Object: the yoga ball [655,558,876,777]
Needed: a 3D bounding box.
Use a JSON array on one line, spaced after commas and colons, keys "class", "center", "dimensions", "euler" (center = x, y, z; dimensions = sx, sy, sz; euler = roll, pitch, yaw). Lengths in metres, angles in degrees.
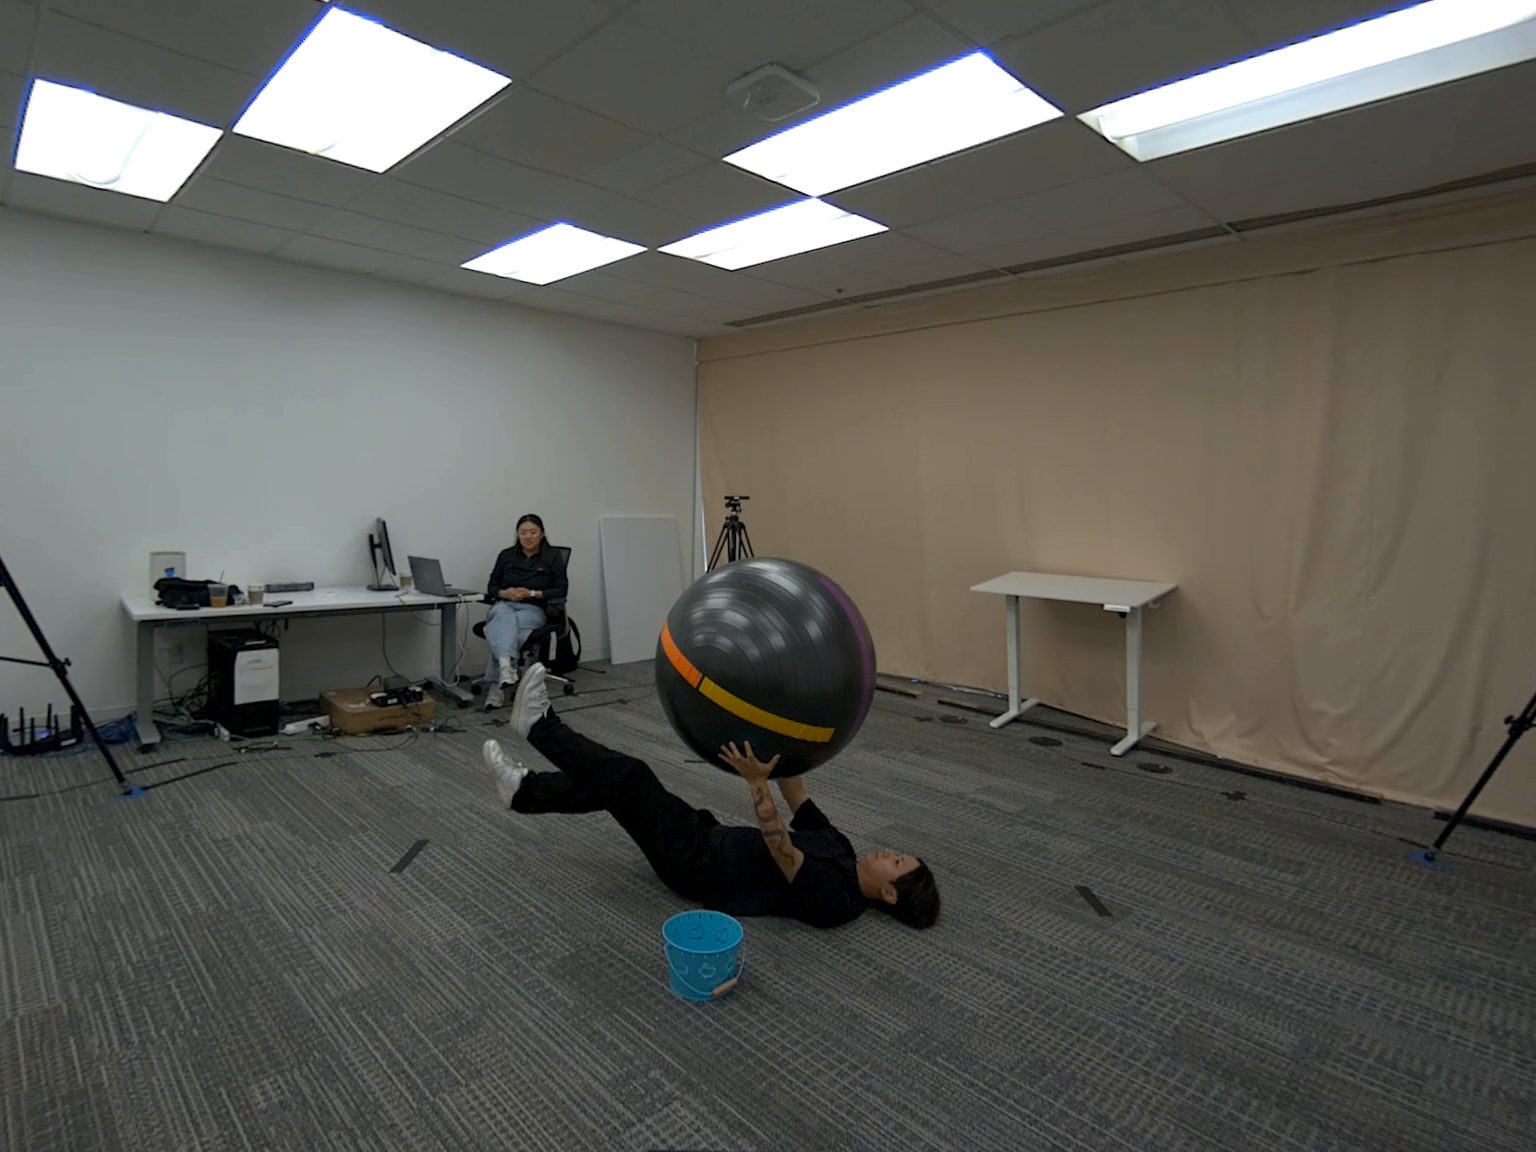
[{"class": "yoga ball", "center": [-0.009, 0.321, 2.915], "dimensions": [0.757, 0.756, 0.761], "euler": [1, 4, -1]}]
